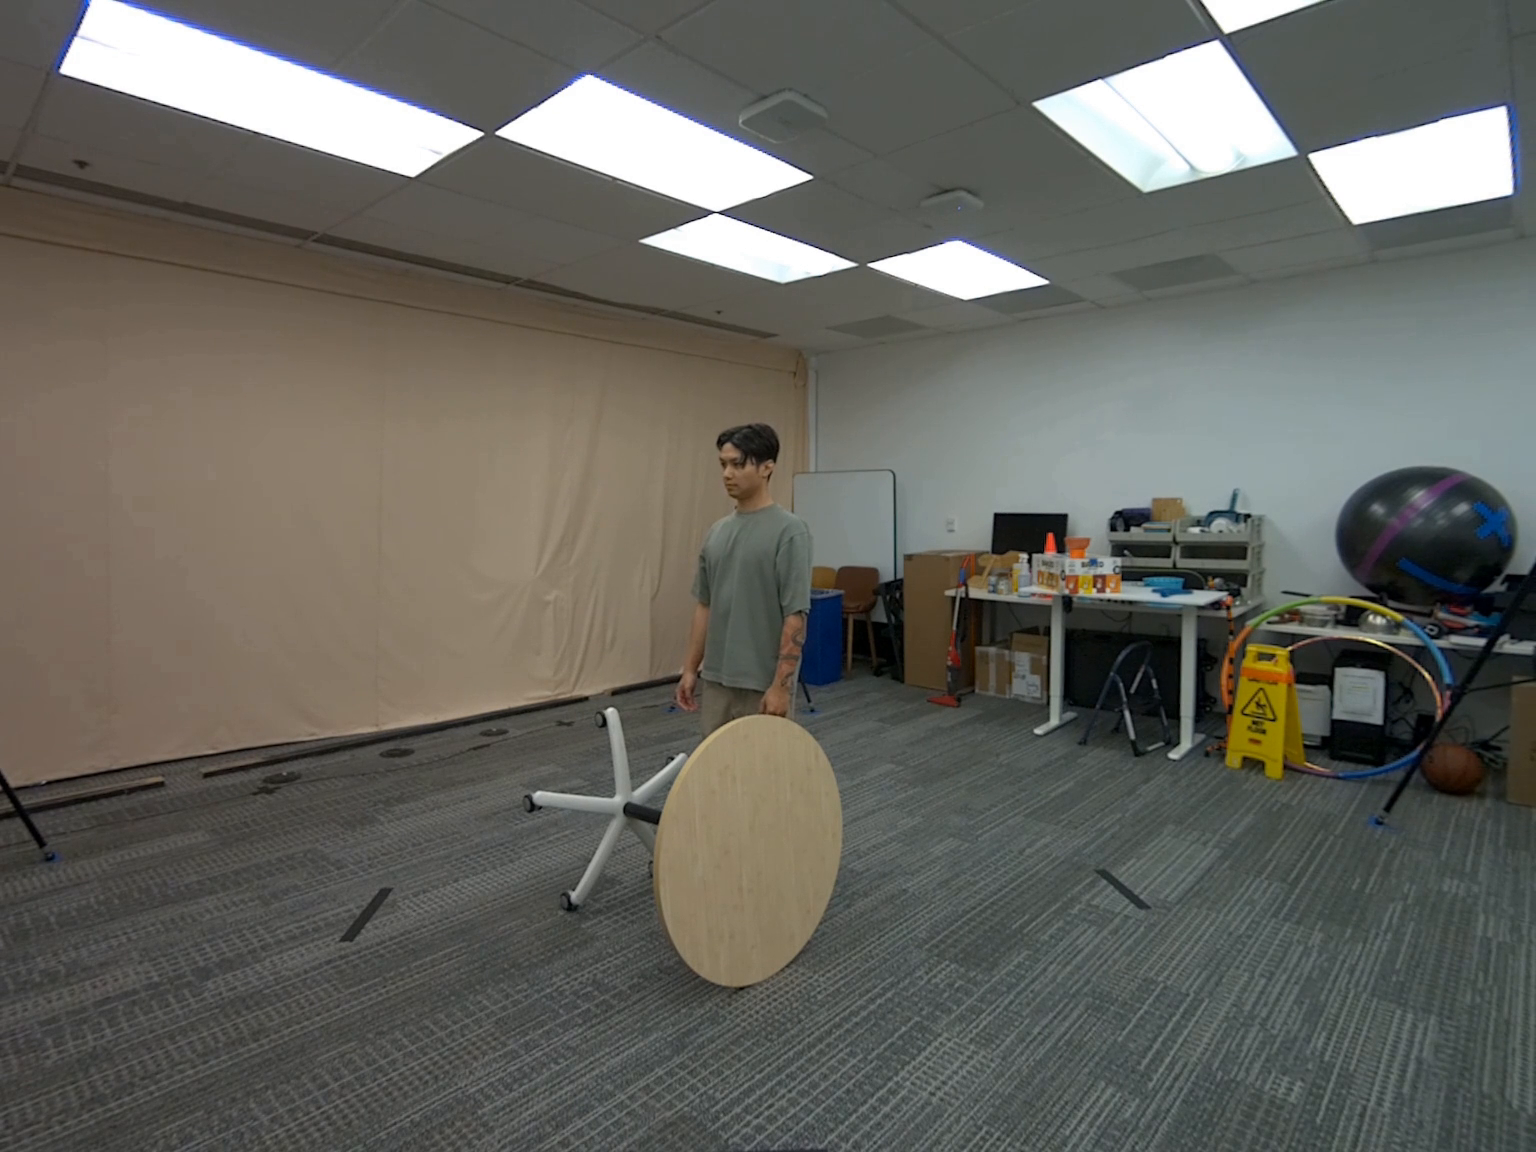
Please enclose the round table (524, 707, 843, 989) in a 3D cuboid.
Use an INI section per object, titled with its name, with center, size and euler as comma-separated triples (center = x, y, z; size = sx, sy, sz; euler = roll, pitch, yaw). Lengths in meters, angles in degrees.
[round table]
center = -0.313, 0.821, 2.780
size = 0.761, 0.786, 0.810
euler = -4, -1, -45
